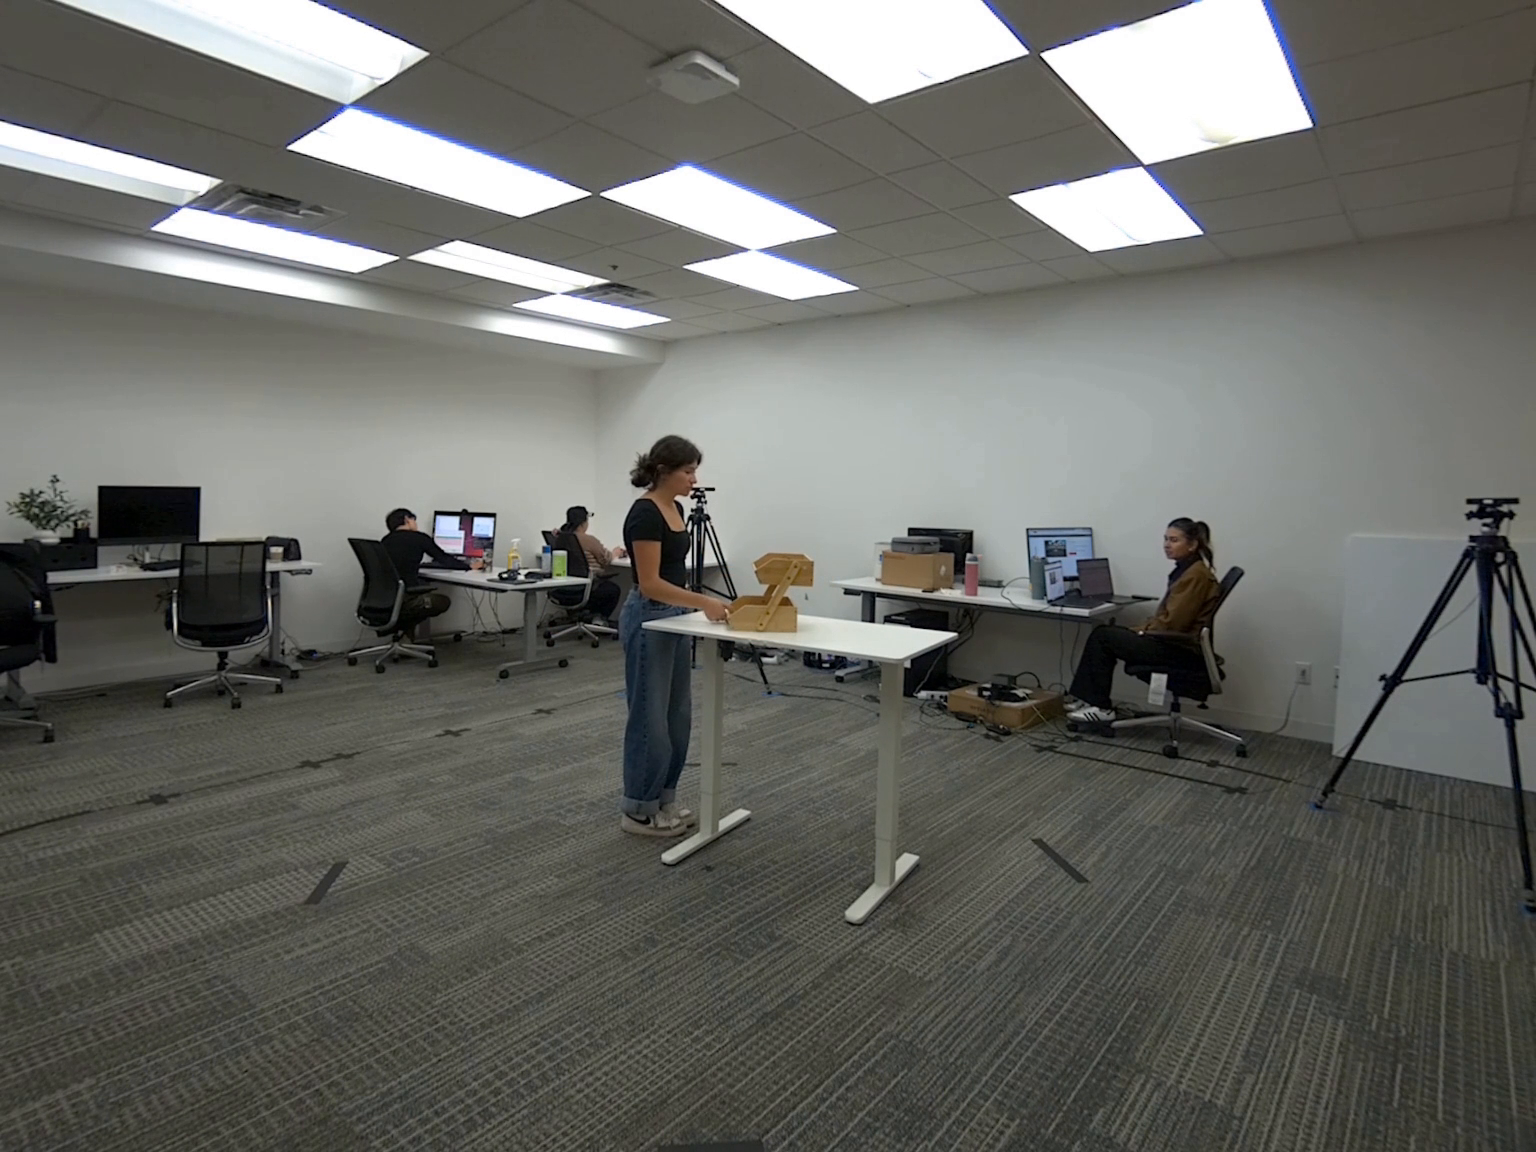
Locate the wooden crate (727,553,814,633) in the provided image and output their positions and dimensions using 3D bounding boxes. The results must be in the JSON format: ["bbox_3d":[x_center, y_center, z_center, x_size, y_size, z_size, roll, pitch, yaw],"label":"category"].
[{"bbox_3d":[-0.009,0.053,3.175,0.302,0.272,0.326,1,5,-2],"label":"wooden crate"}]
